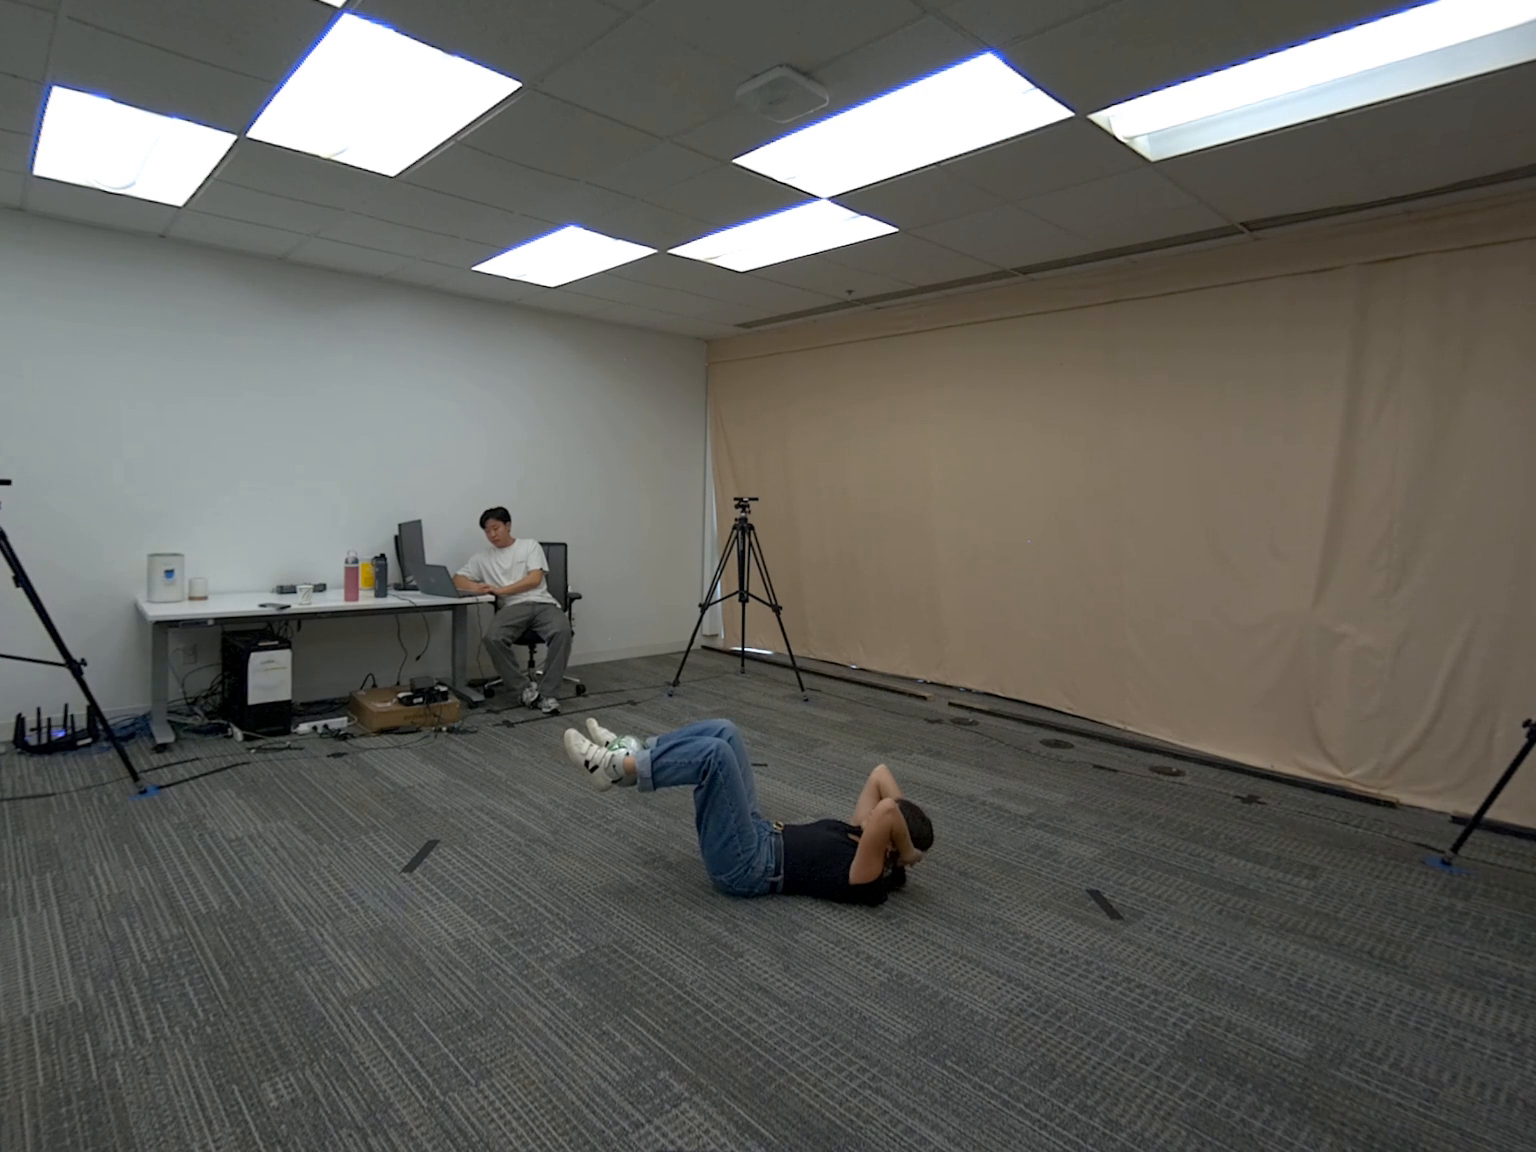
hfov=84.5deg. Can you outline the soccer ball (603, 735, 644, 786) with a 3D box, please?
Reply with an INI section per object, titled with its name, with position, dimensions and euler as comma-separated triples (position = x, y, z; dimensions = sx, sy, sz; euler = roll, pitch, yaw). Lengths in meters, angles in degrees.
[soccer ball]
position = -0.537, 0.690, 3.094
dimensions = 0.187, 0.186, 0.188
euler = 1, 7, -1
